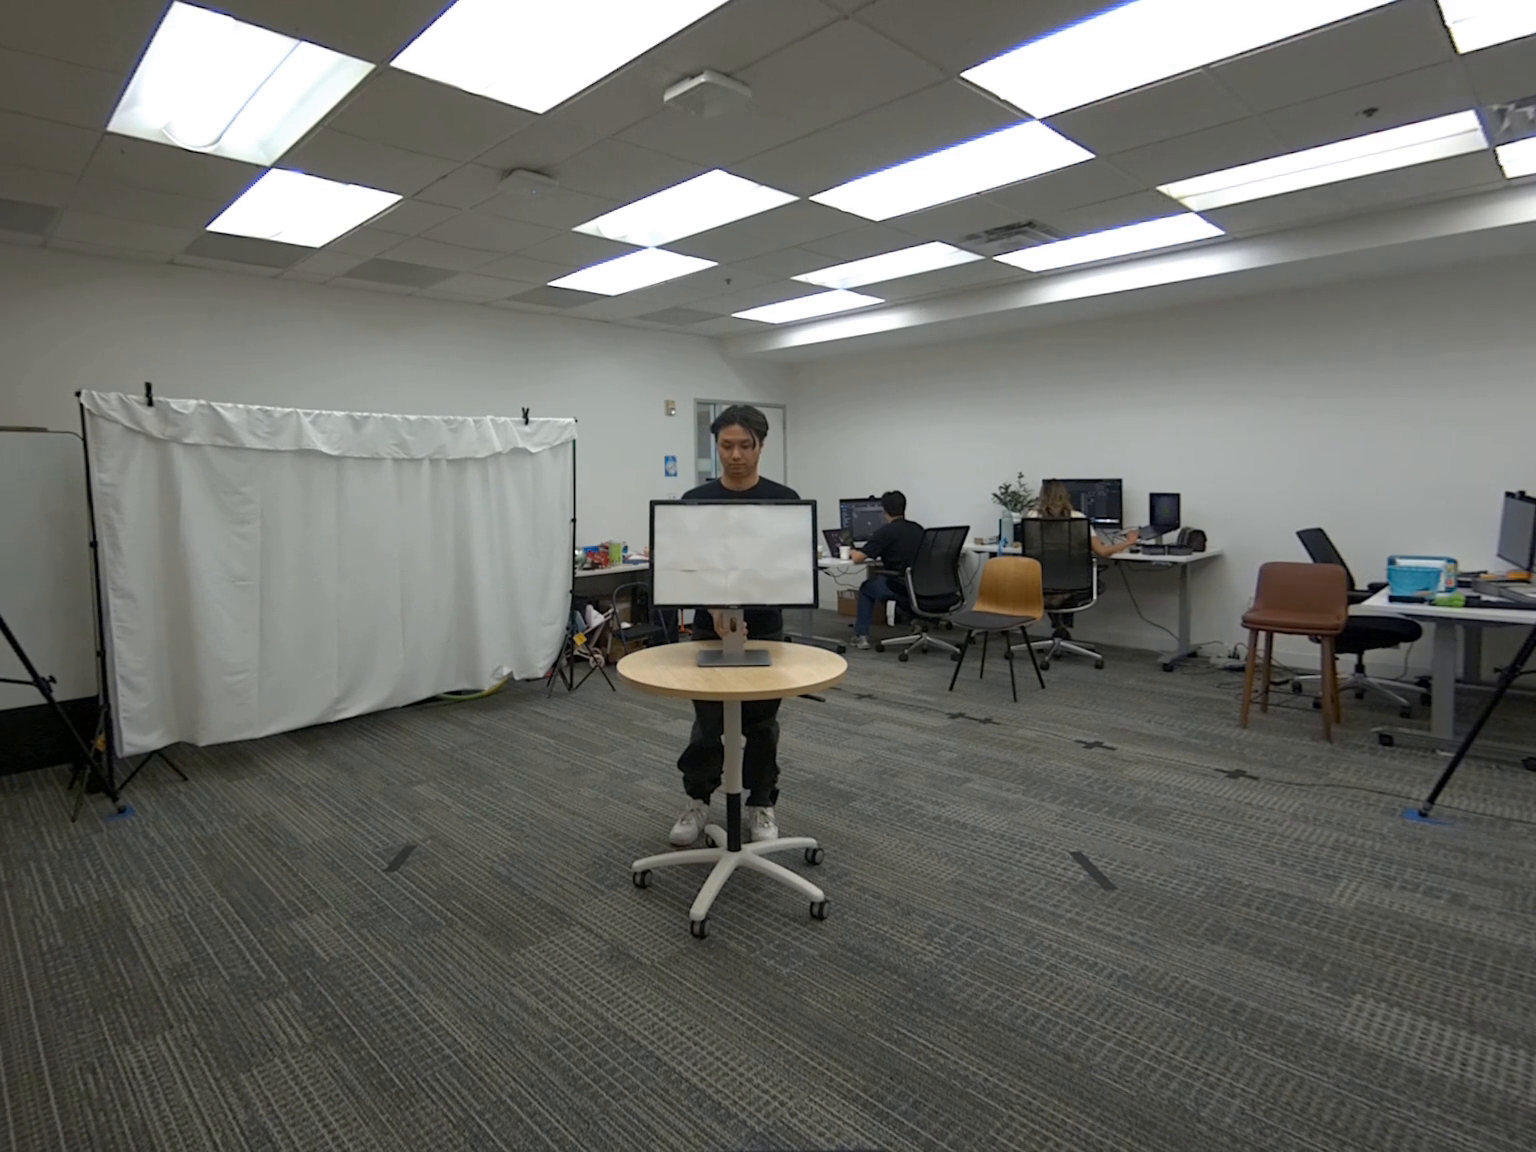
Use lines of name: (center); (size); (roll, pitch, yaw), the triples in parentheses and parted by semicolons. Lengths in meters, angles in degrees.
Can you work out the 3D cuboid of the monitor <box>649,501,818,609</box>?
monitor: (-0.130, 0.028, 2.881); (0.538, 0.521, 0.188); (-2, 3, -2)
